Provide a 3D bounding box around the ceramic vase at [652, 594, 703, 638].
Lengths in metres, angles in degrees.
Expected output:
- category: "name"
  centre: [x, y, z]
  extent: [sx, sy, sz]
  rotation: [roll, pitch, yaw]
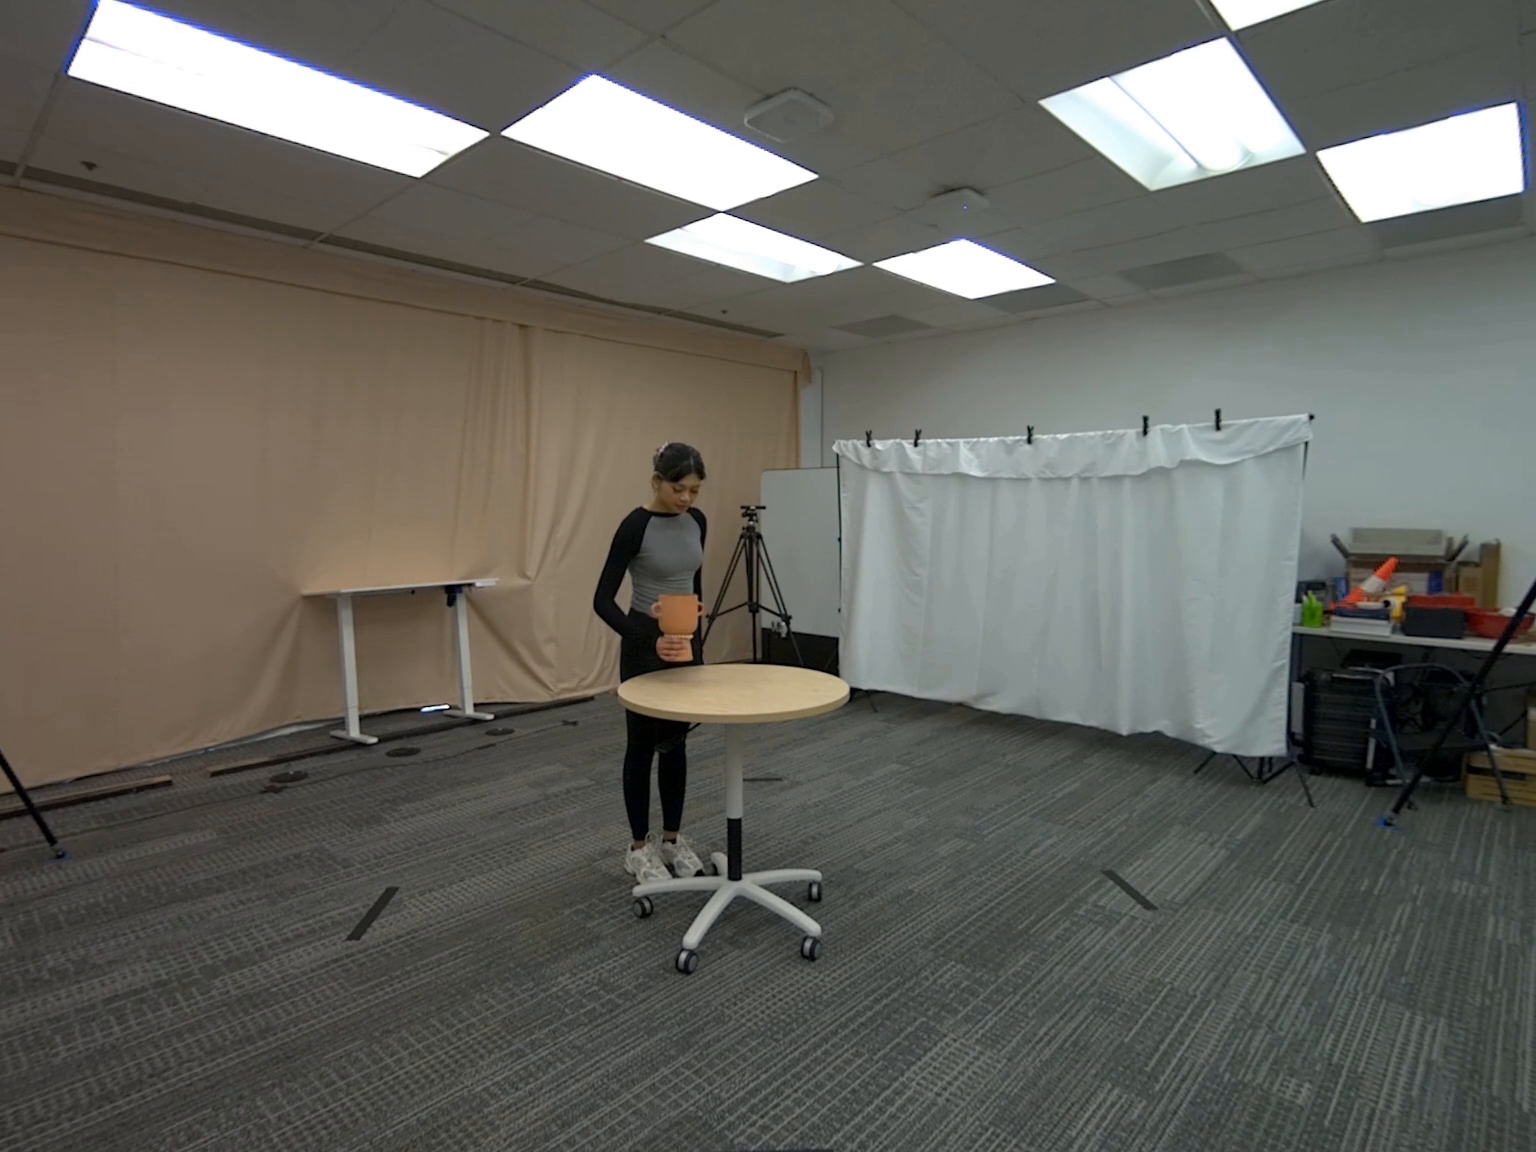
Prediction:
- category: "ceramic vase"
  centre: [-0.308, 0.174, 2.863]
  extent: [0.161, 0.220, 0.132]
  rotation: [0, 0, 14]
